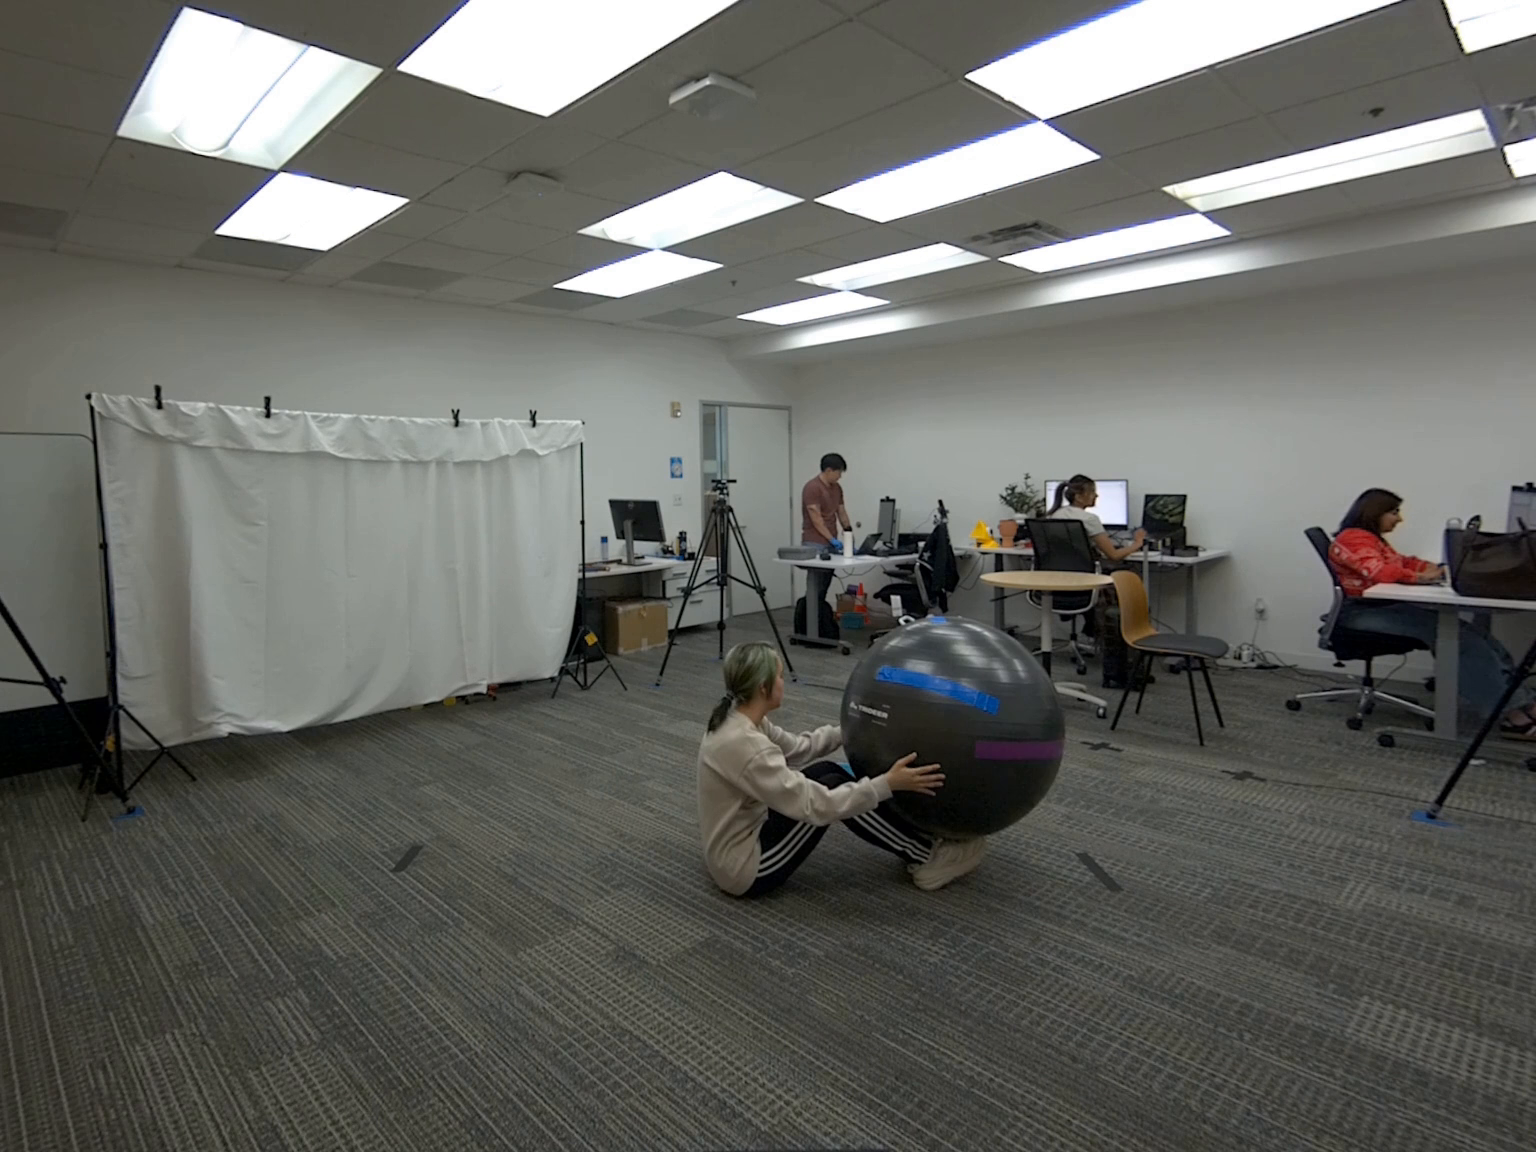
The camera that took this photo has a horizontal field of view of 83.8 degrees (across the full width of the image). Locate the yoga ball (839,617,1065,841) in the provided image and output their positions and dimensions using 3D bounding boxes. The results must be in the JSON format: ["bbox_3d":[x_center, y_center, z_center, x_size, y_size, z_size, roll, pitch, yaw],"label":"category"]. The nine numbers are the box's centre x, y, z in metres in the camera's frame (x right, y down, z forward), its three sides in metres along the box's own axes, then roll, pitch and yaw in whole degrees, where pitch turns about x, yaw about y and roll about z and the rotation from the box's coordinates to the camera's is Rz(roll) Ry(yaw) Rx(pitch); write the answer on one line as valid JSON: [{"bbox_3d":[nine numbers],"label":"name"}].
[{"bbox_3d":[0.658,0.525,3.006,0.757,0.755,0.762,-1,5,-2],"label":"yoga ball"}]
